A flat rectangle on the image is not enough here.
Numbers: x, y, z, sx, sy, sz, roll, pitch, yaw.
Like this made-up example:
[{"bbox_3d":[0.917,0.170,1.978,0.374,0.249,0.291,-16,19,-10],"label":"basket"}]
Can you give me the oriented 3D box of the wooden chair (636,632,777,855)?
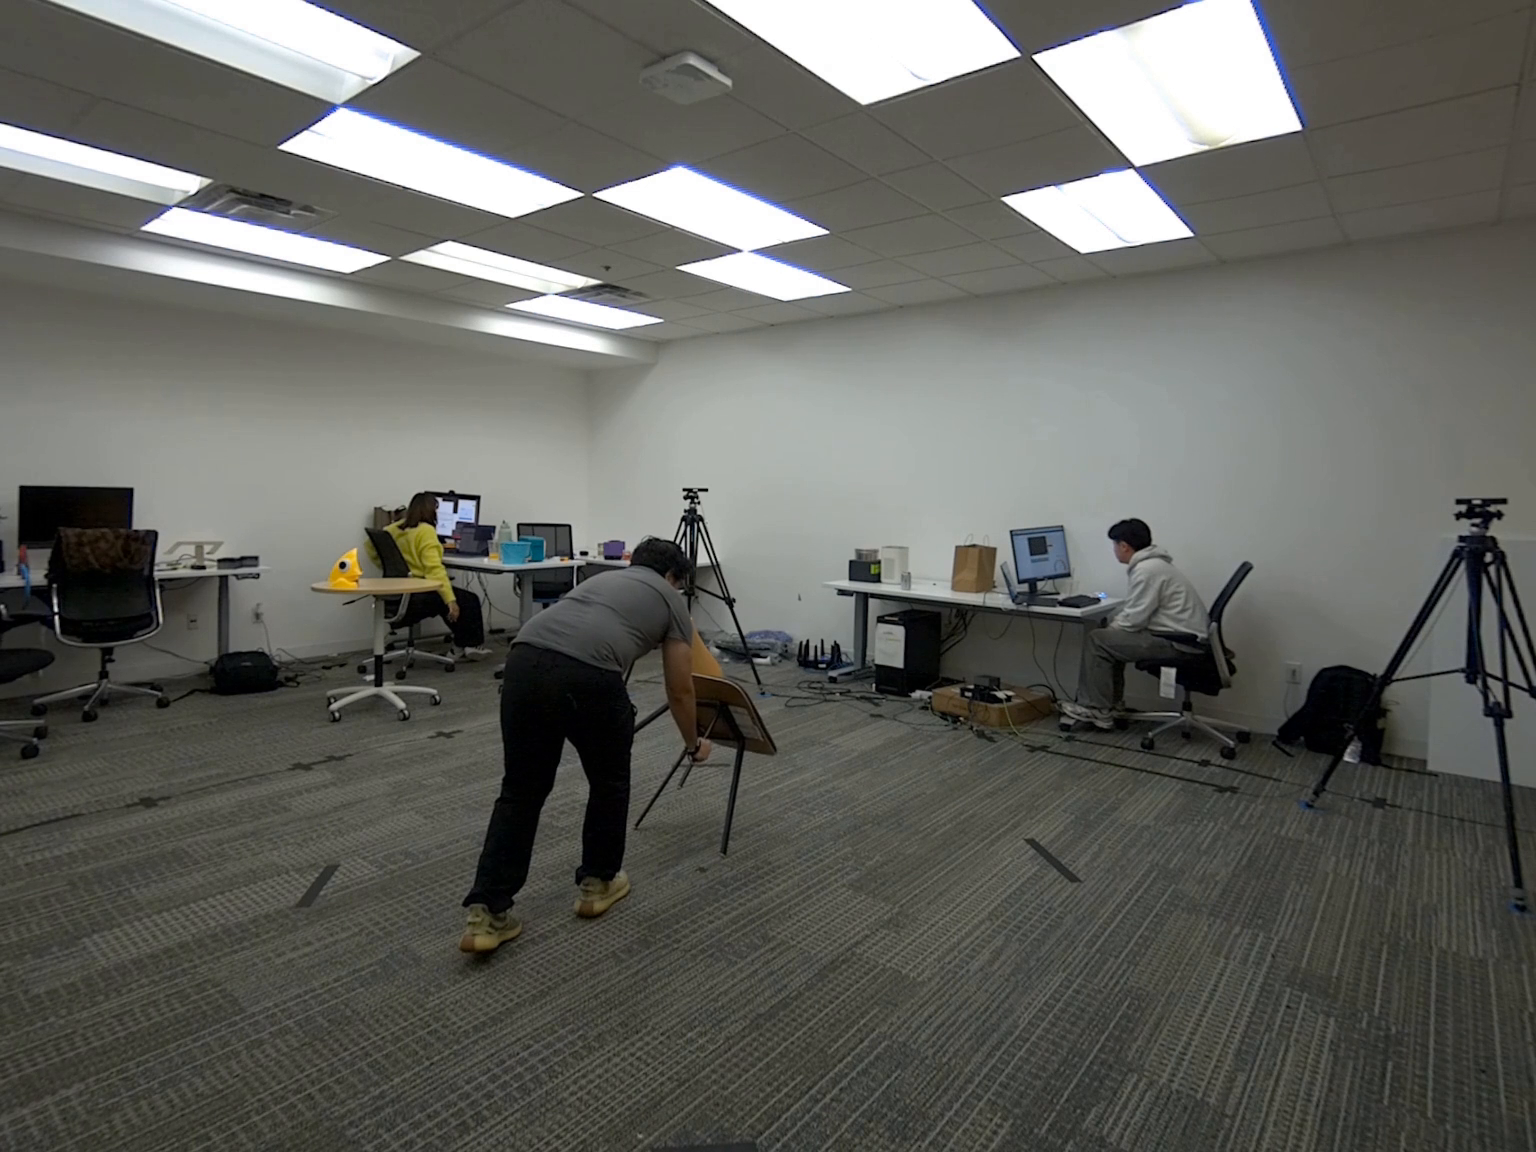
[{"bbox_3d":[-0.247,0.595,3.480,0.538,0.461,0.885,-1,42,30],"label":"wooden chair"}]
